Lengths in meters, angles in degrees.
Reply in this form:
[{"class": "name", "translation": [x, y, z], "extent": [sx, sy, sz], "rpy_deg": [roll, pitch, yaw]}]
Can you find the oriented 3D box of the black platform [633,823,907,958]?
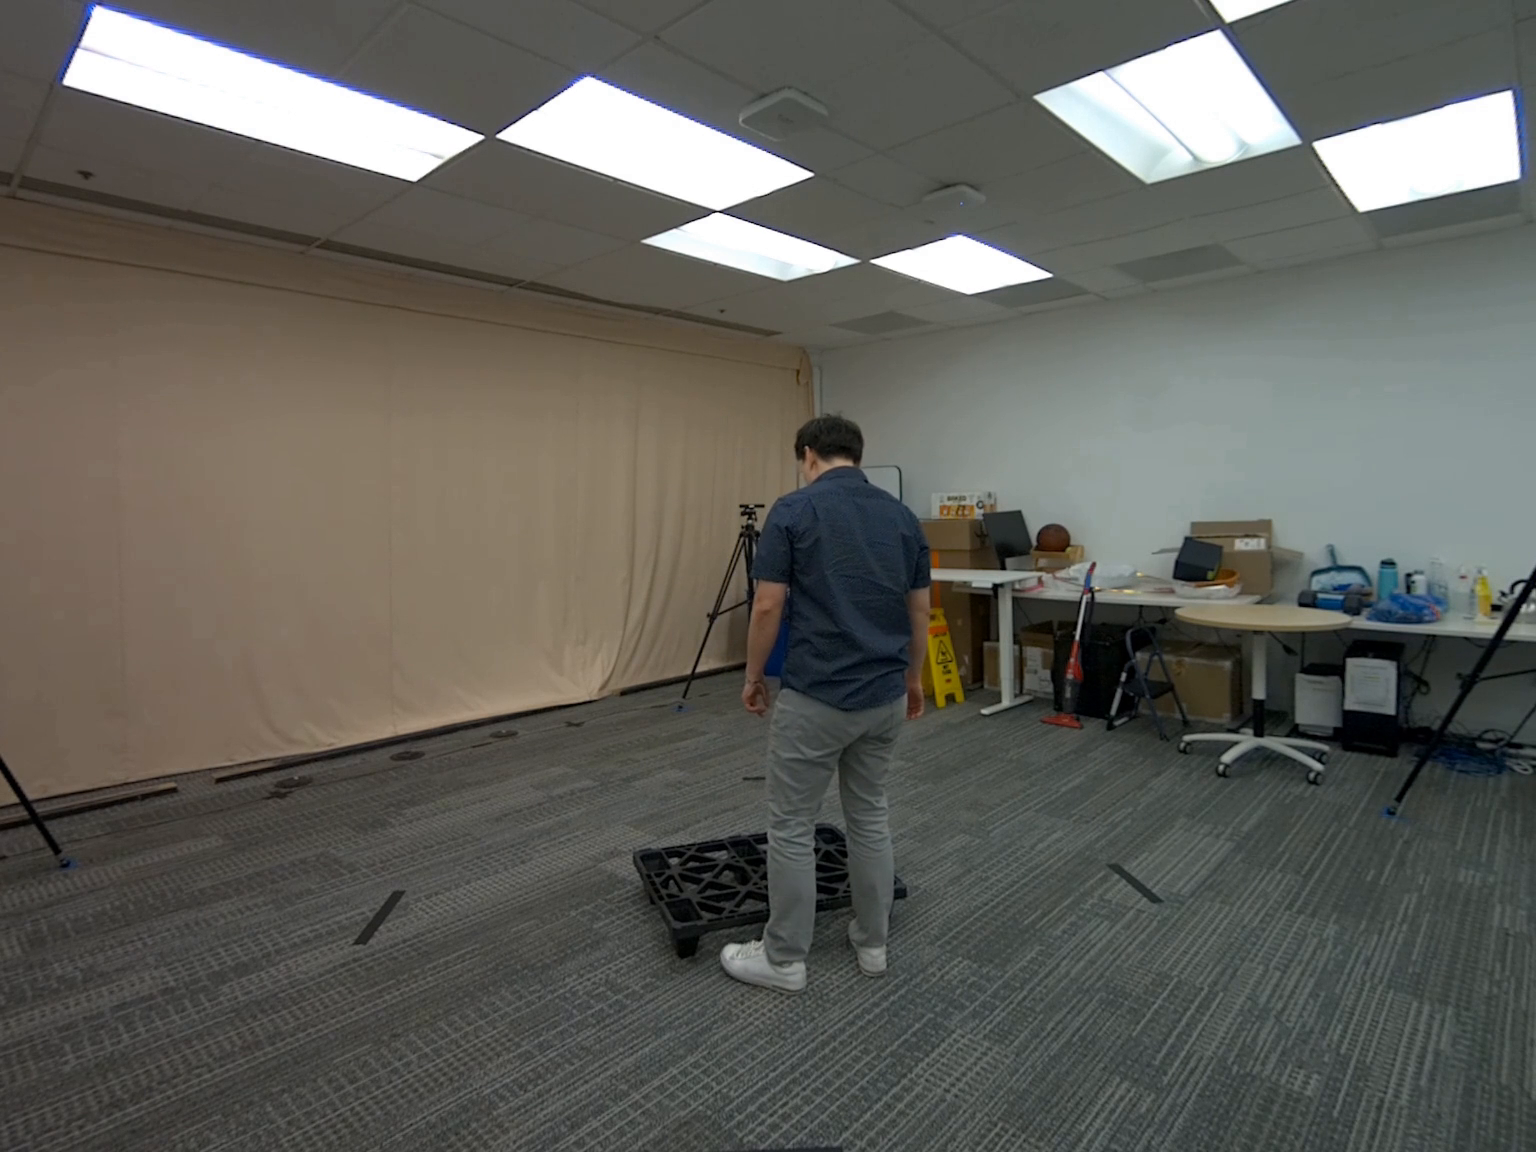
[{"class": "black platform", "translation": [-0.018, 1.077, 2.922], "extent": [0.791, 0.143, 0.618], "rpy_deg": [-2, 4, -19]}]
